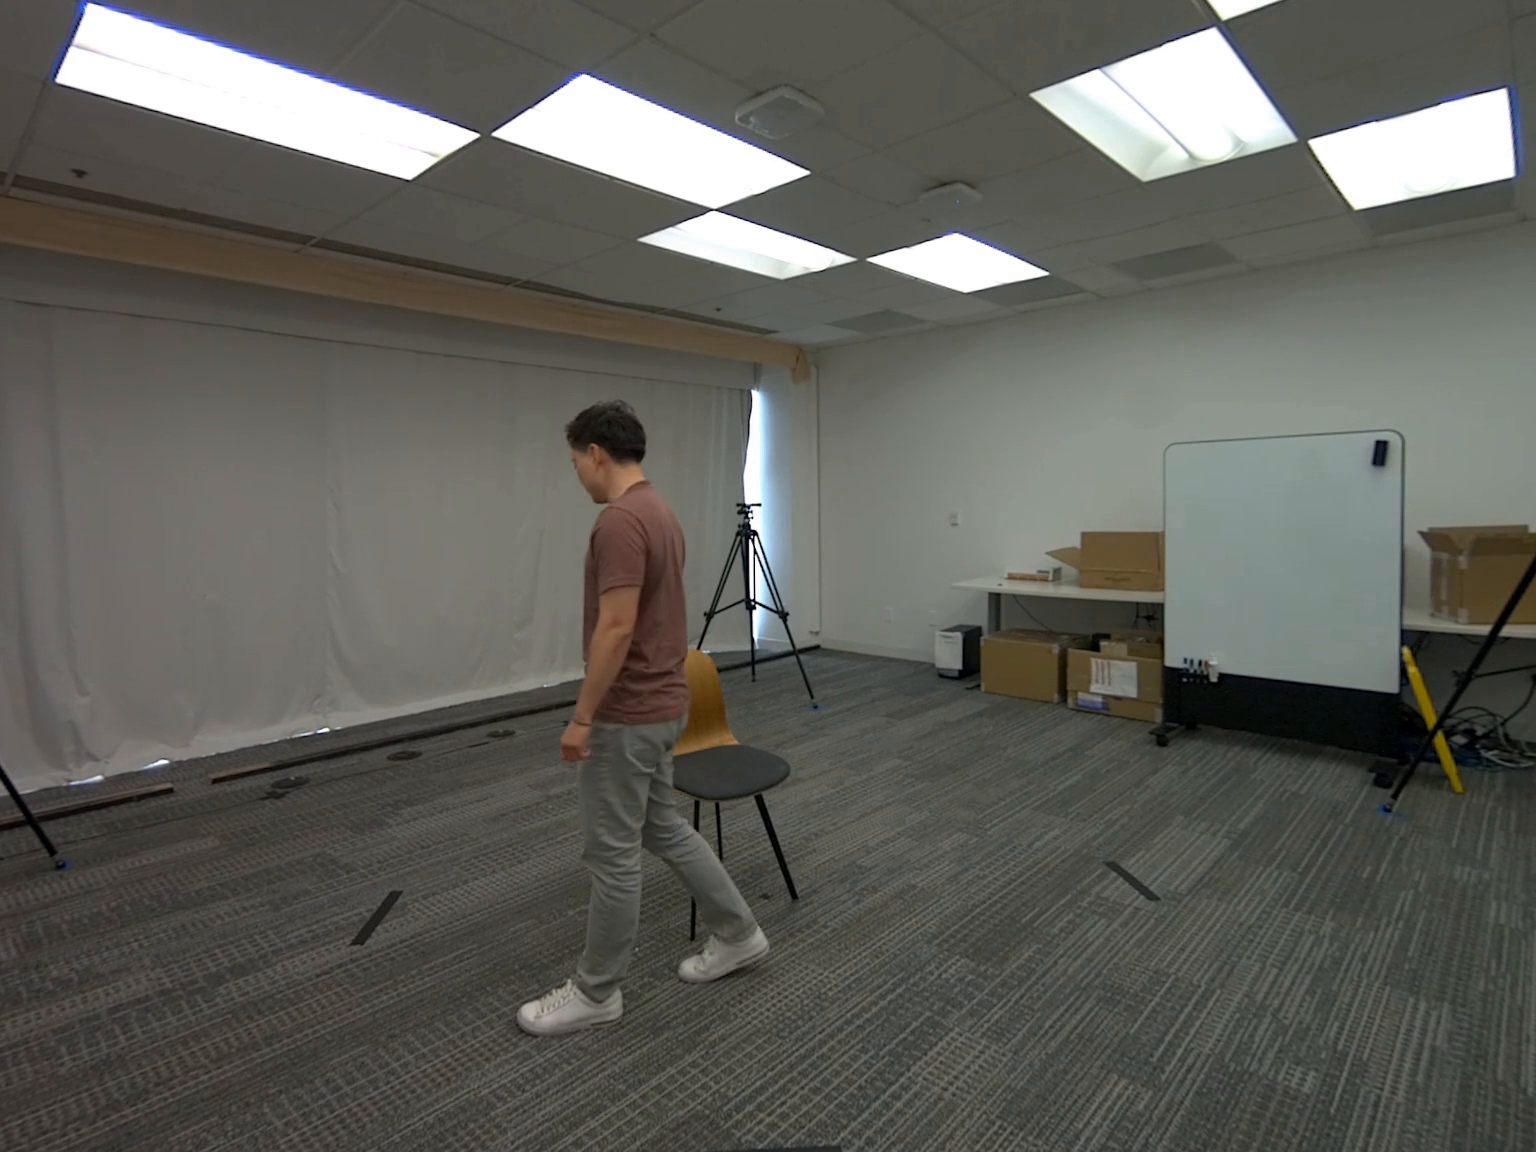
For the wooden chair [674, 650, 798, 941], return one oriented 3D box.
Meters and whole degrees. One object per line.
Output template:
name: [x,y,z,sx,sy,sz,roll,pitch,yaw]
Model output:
wooden chair: [-0.212,0.715,2.962,0.464,0.877,0.539,-4,0,-38]
